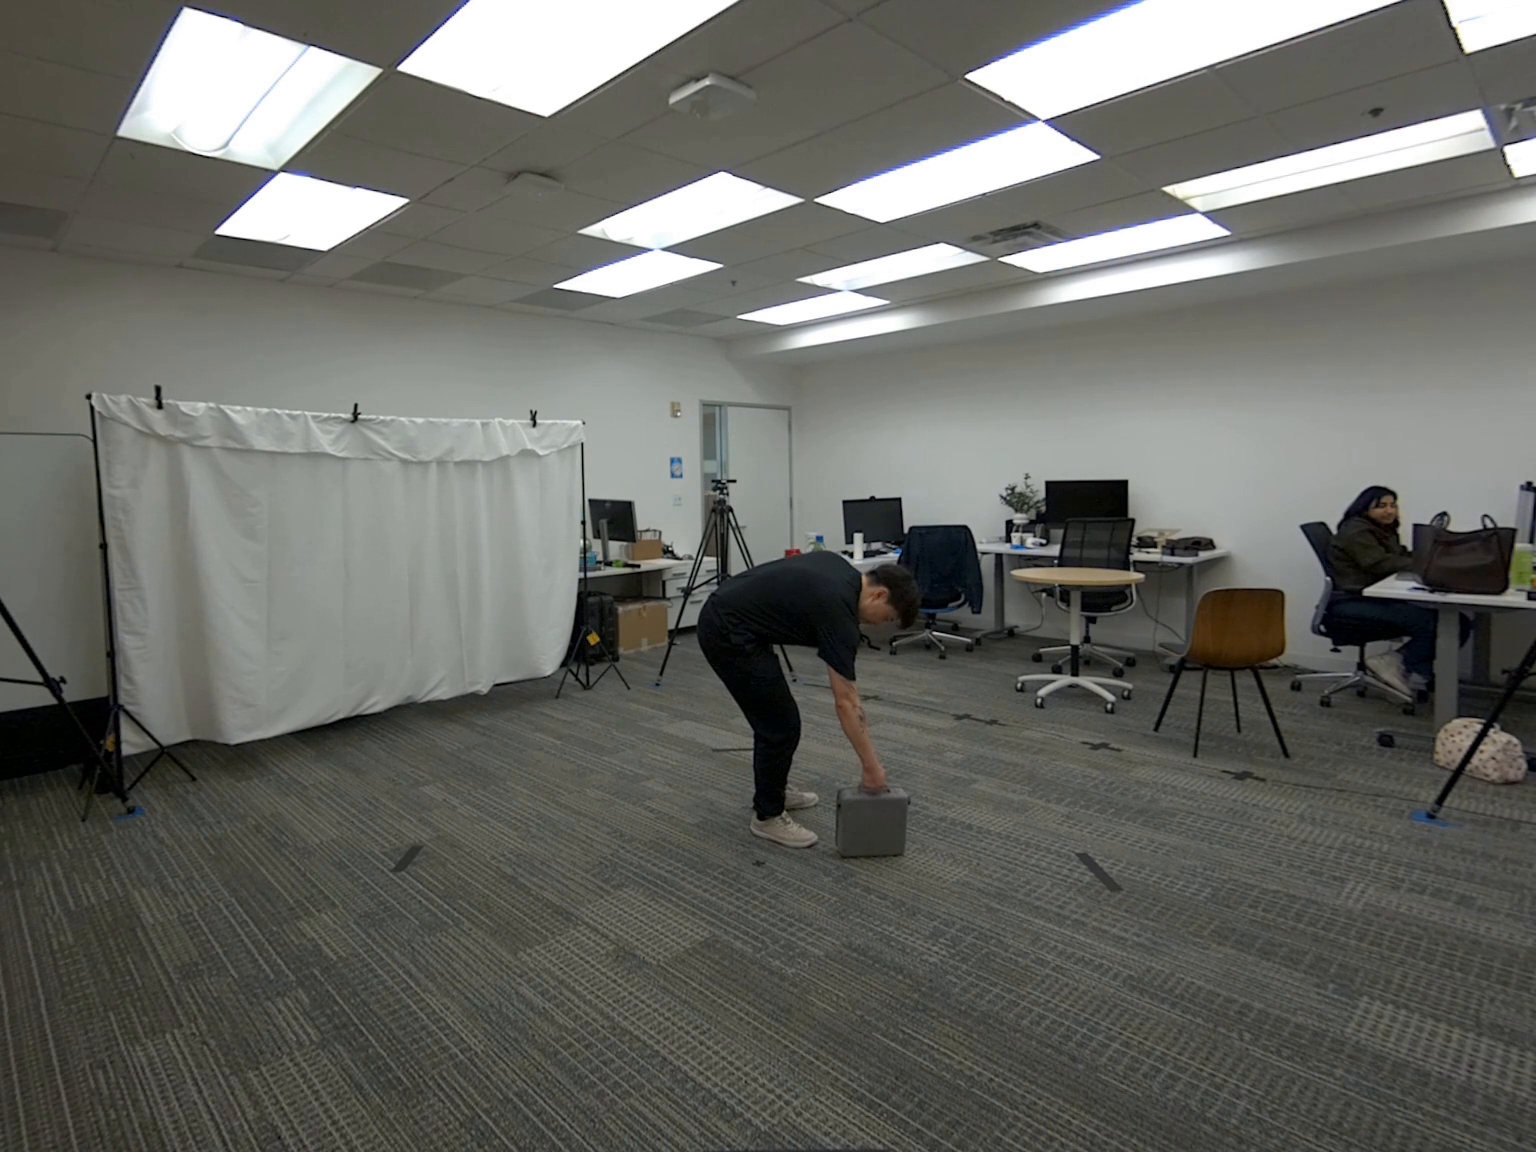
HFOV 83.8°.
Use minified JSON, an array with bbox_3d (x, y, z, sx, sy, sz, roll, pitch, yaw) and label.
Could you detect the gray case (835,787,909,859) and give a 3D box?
[{"bbox_3d":[0.389,0.902,3.162,0.256,0.258,0.106,-1,11,-5],"label":"gray case"}]
